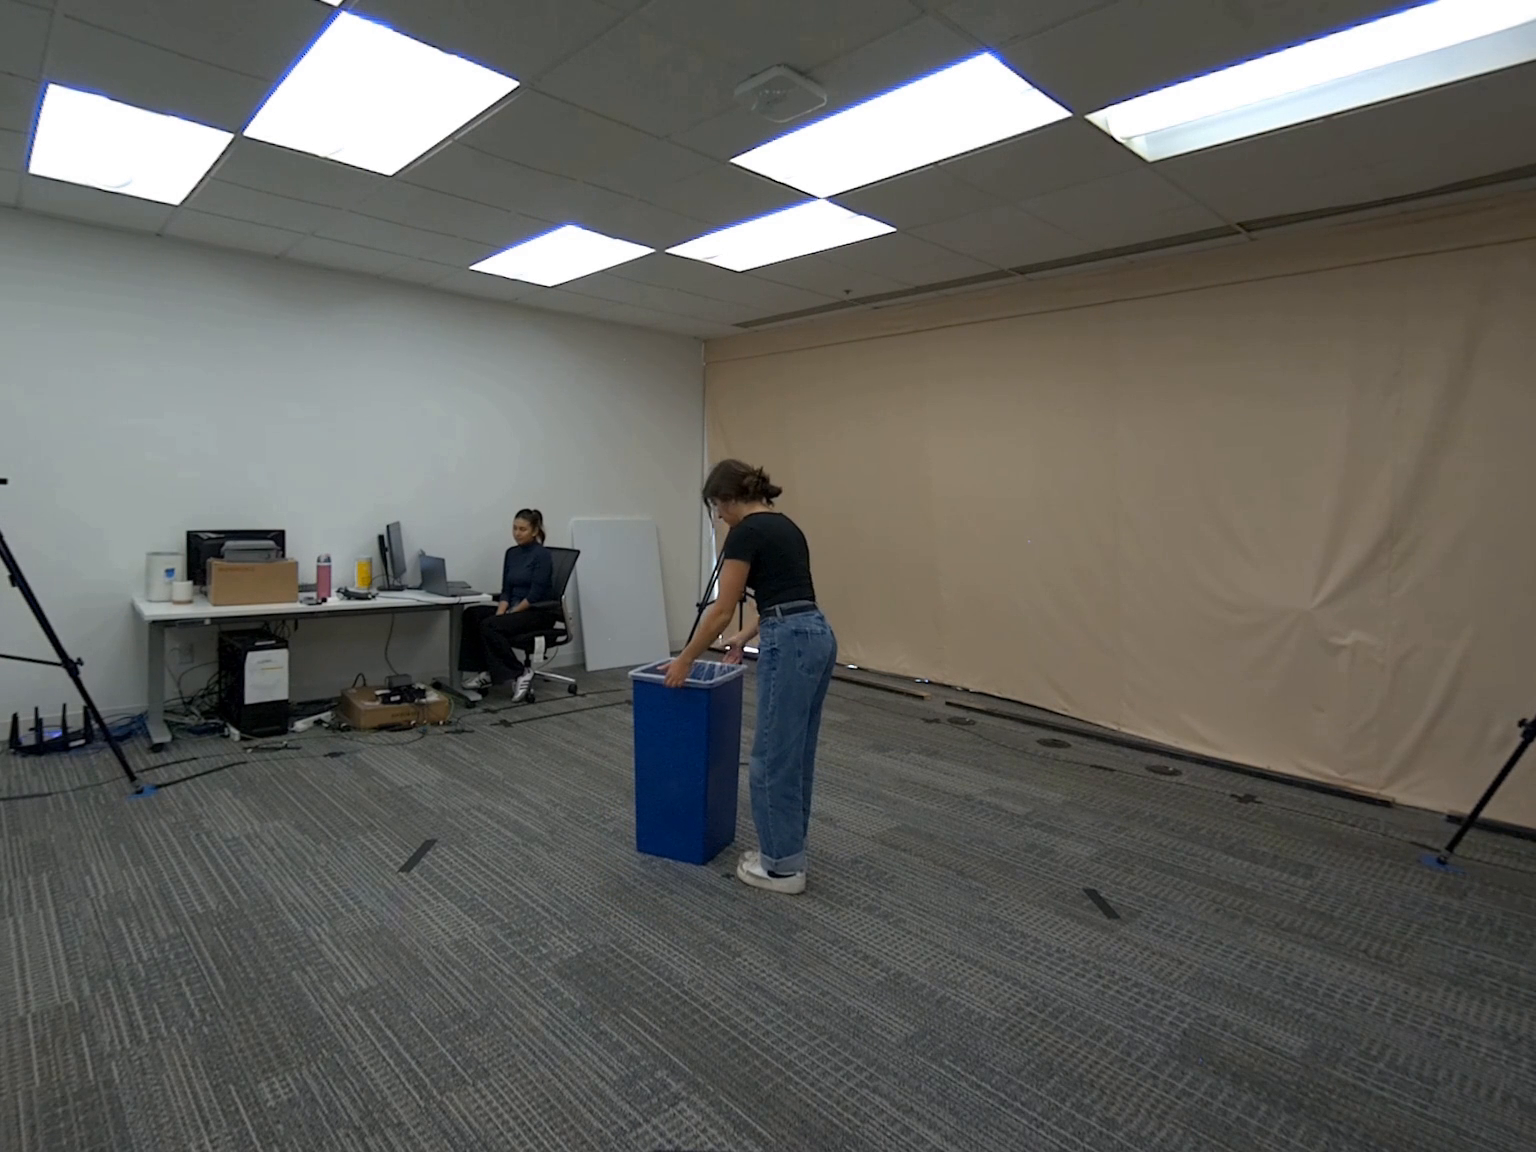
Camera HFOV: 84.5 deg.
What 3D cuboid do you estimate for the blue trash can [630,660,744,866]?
[{"bbox_3d":[-0.326,0.723,3.350,0.385,0.712,0.368,3,3,23],"label":"blue trash can"}]
